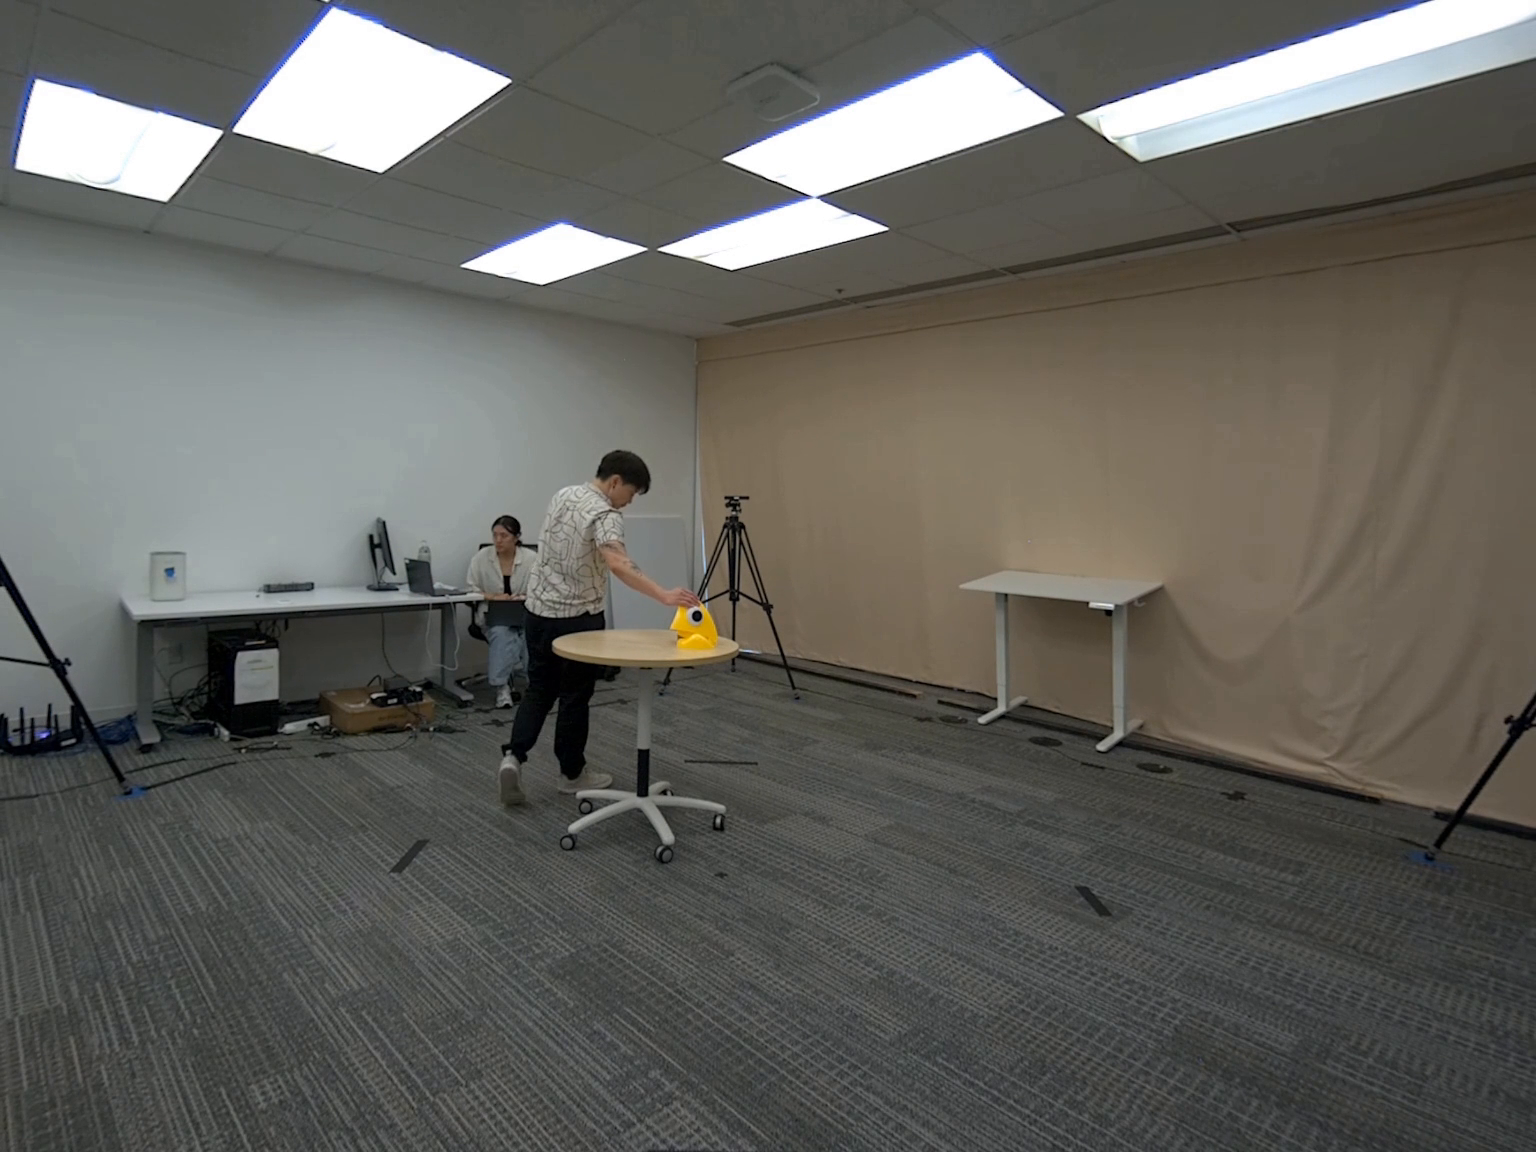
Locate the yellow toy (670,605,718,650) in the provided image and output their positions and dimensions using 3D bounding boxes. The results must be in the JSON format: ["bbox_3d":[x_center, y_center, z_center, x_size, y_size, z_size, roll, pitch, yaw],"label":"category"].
[{"bbox_3d":[-0.307,0.173,3.477,0.193,0.230,0.205,1,4,2],"label":"yellow toy"}]
